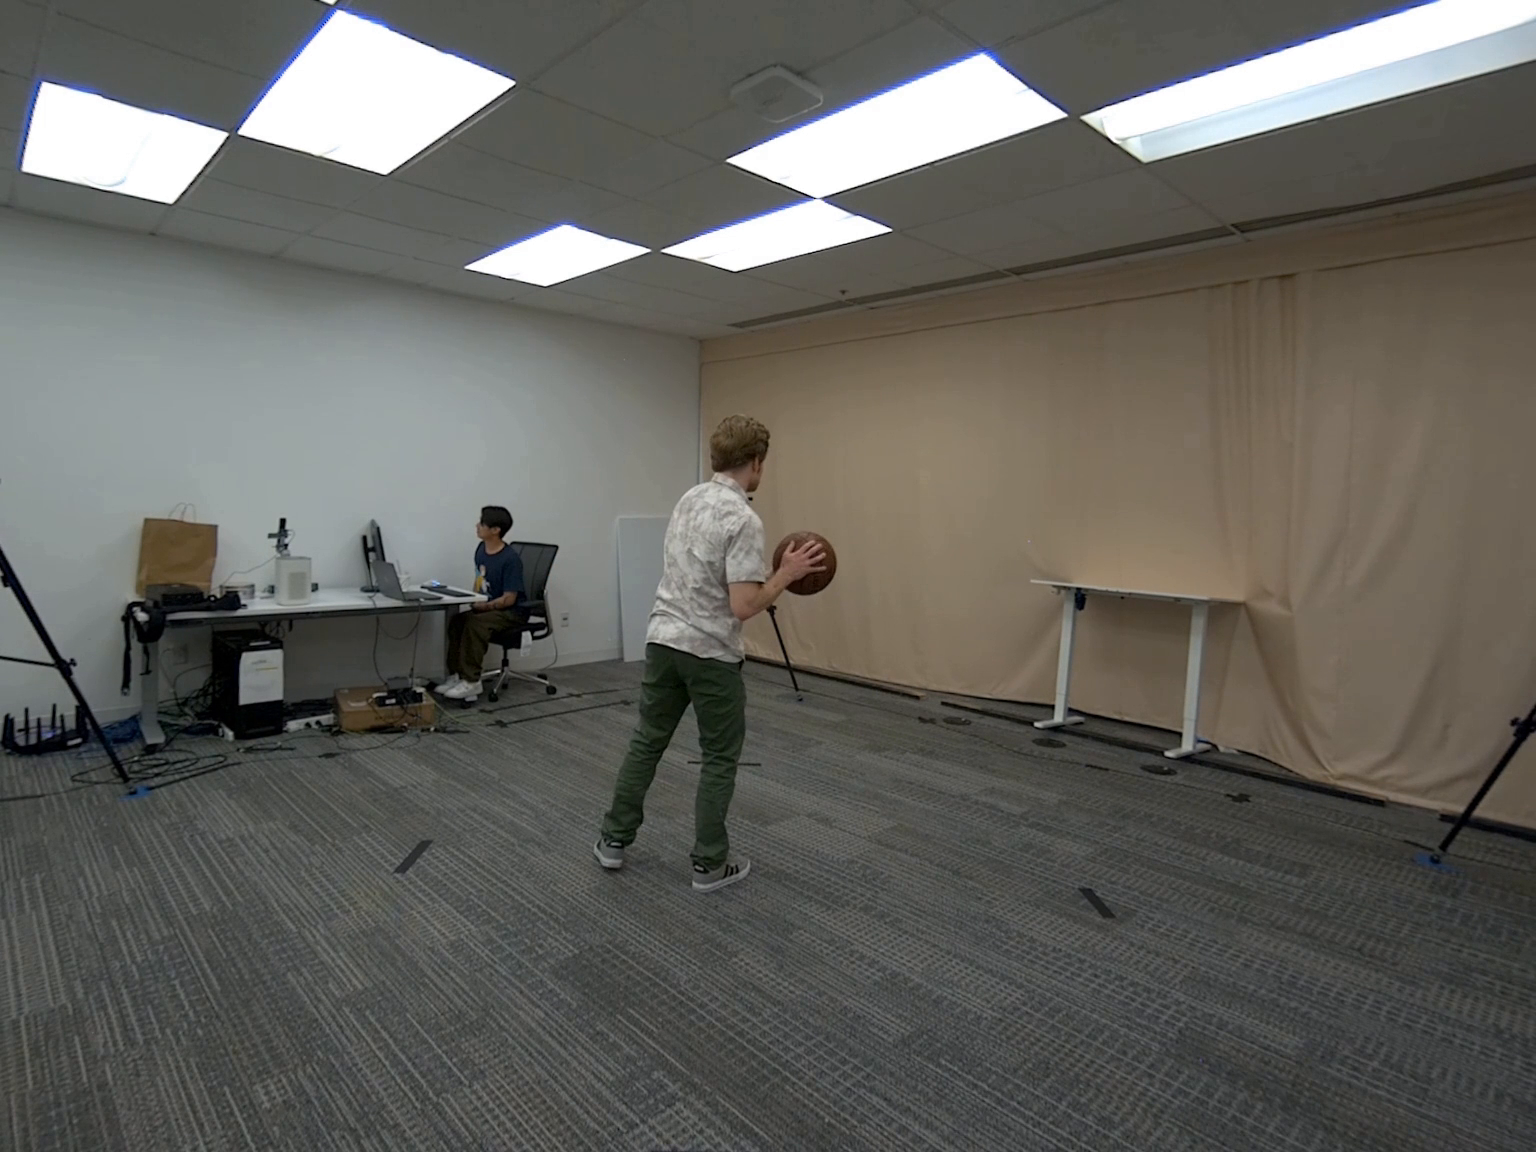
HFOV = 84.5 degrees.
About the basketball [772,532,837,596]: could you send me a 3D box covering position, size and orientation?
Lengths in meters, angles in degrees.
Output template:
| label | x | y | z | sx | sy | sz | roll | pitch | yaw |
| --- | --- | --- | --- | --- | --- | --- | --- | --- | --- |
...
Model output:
| label | x | y | z | sx | sy | sz | roll | pitch | yaw |
| --- | --- | --- | --- | --- | --- | --- | --- | --- | --- |
| basketball | 0.127 | -0.044 | 3.126 | 0.236 | 0.235 | 0.237 | 1 | 4 | -1 |
